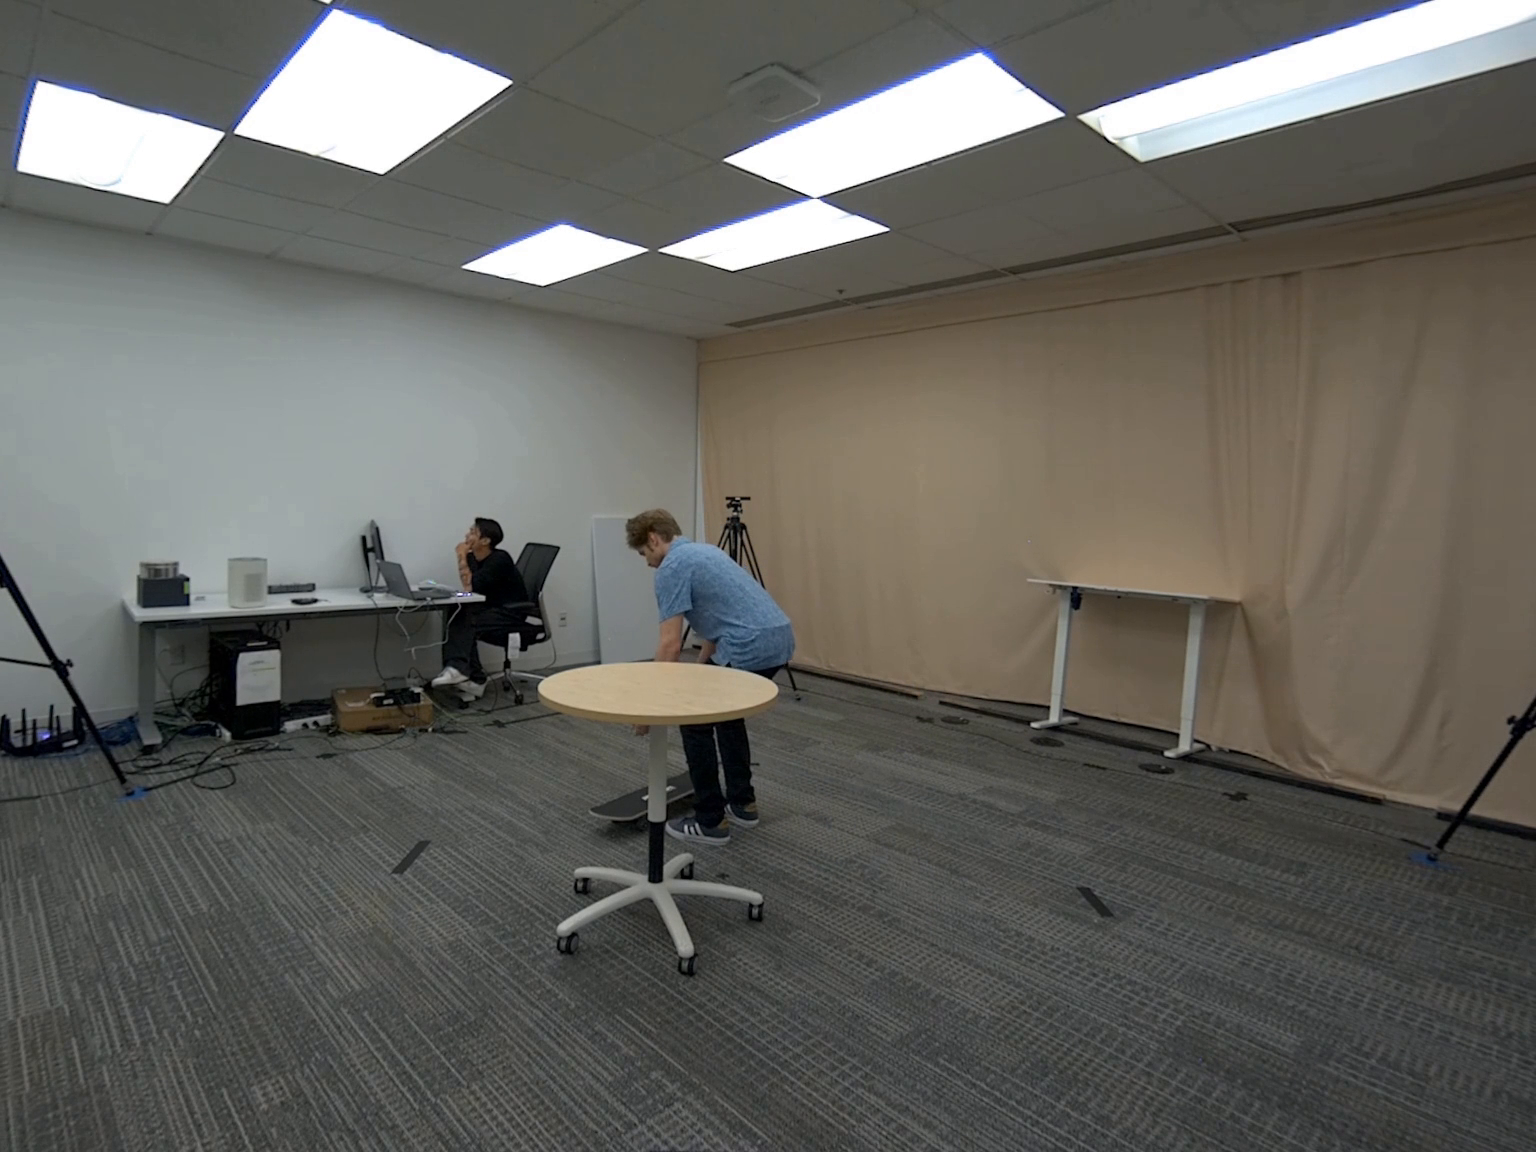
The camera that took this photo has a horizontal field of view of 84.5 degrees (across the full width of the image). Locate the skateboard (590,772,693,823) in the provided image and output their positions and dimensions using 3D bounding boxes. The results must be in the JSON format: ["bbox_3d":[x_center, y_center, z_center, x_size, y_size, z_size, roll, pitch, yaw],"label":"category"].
[{"bbox_3d":[-0.489,0.985,3.711,0.198,0.110,0.769,4,5,32],"label":"skateboard"}]
